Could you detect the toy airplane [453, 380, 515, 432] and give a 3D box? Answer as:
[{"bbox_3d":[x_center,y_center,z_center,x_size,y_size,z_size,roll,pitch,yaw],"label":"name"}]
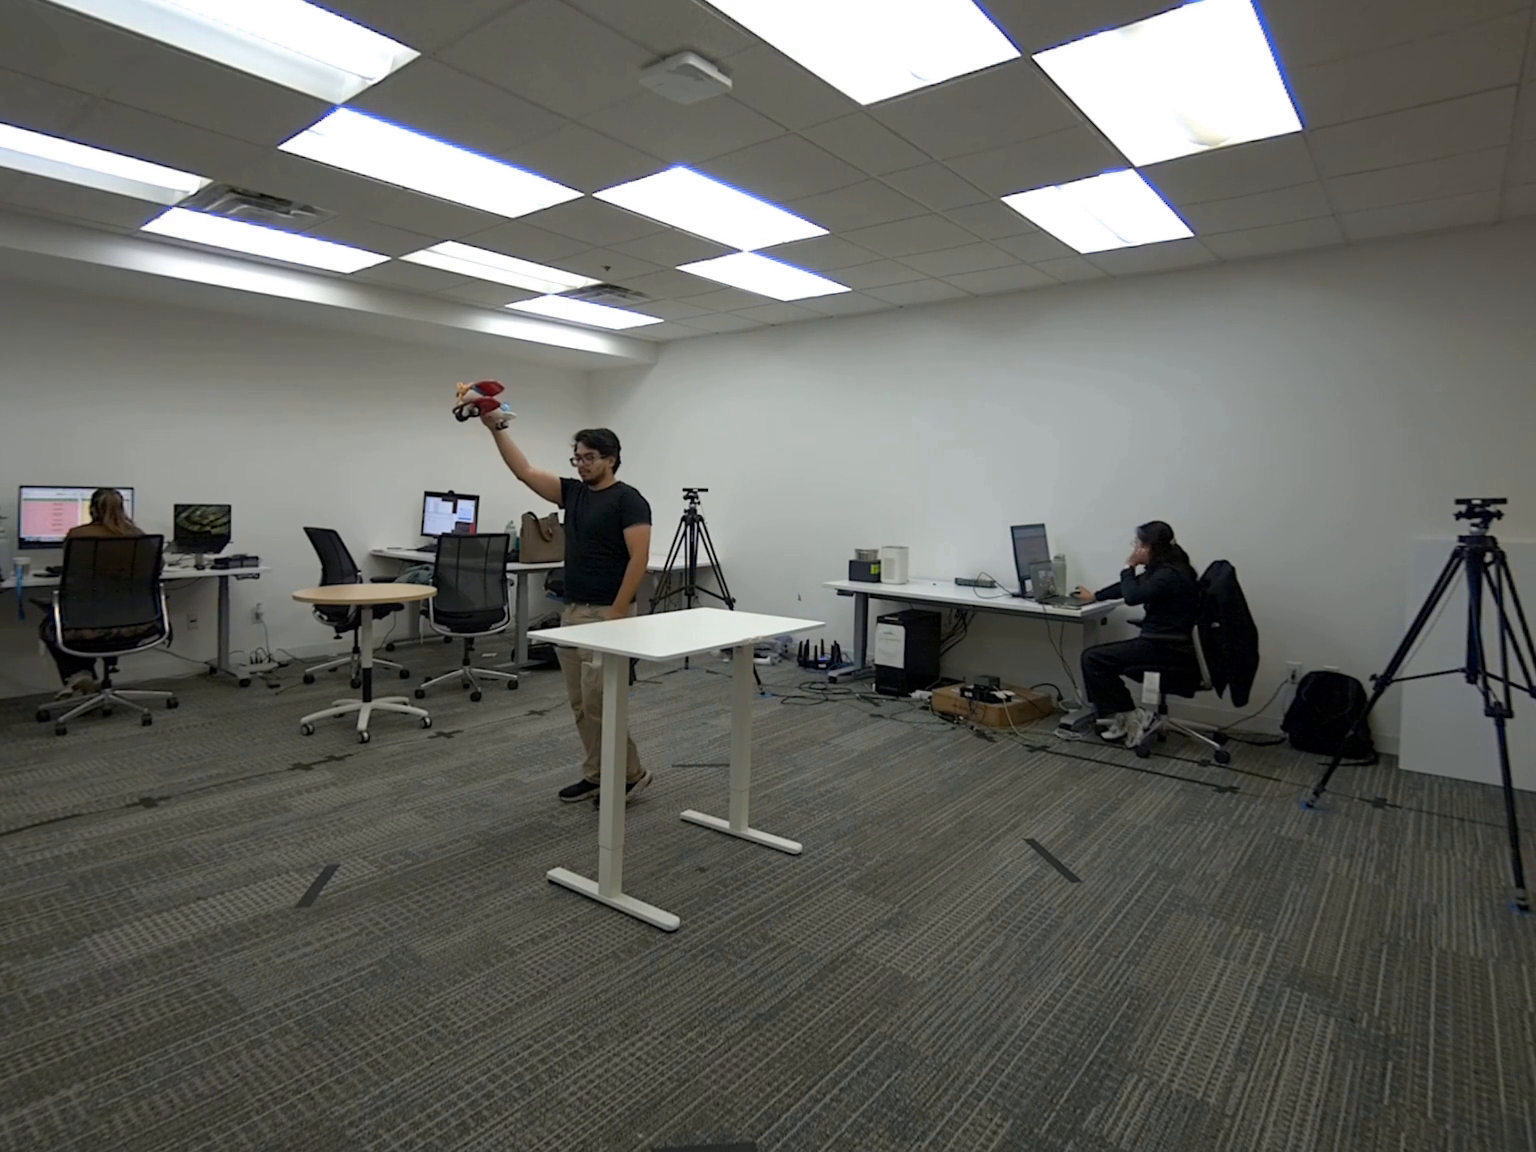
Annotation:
[{"bbox_3d":[-1.226,-0.716,3.584,0.253,0.158,0.255,-2,-9,5],"label":"toy airplane"}]
